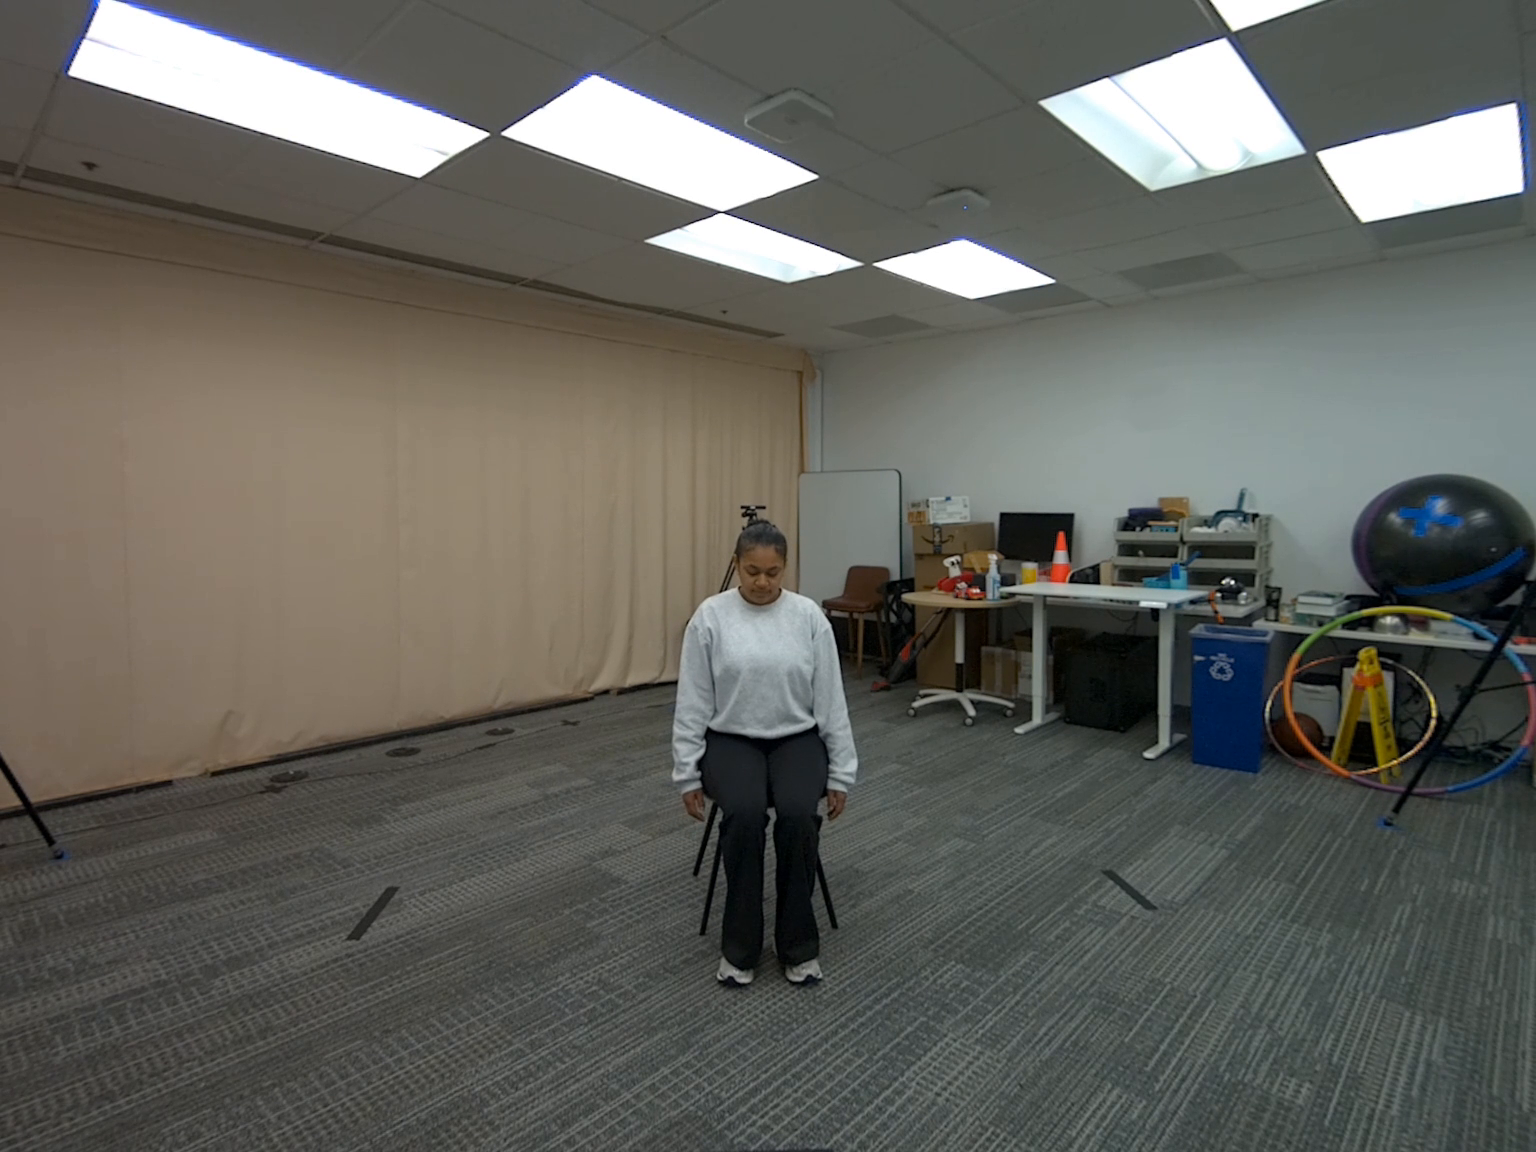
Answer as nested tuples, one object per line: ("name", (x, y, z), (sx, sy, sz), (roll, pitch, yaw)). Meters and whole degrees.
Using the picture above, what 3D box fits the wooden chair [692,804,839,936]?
("wooden chair", (-0.024, 0.722, 2.935), (0.475, 0.877, 0.527), (0, 0, -8))
